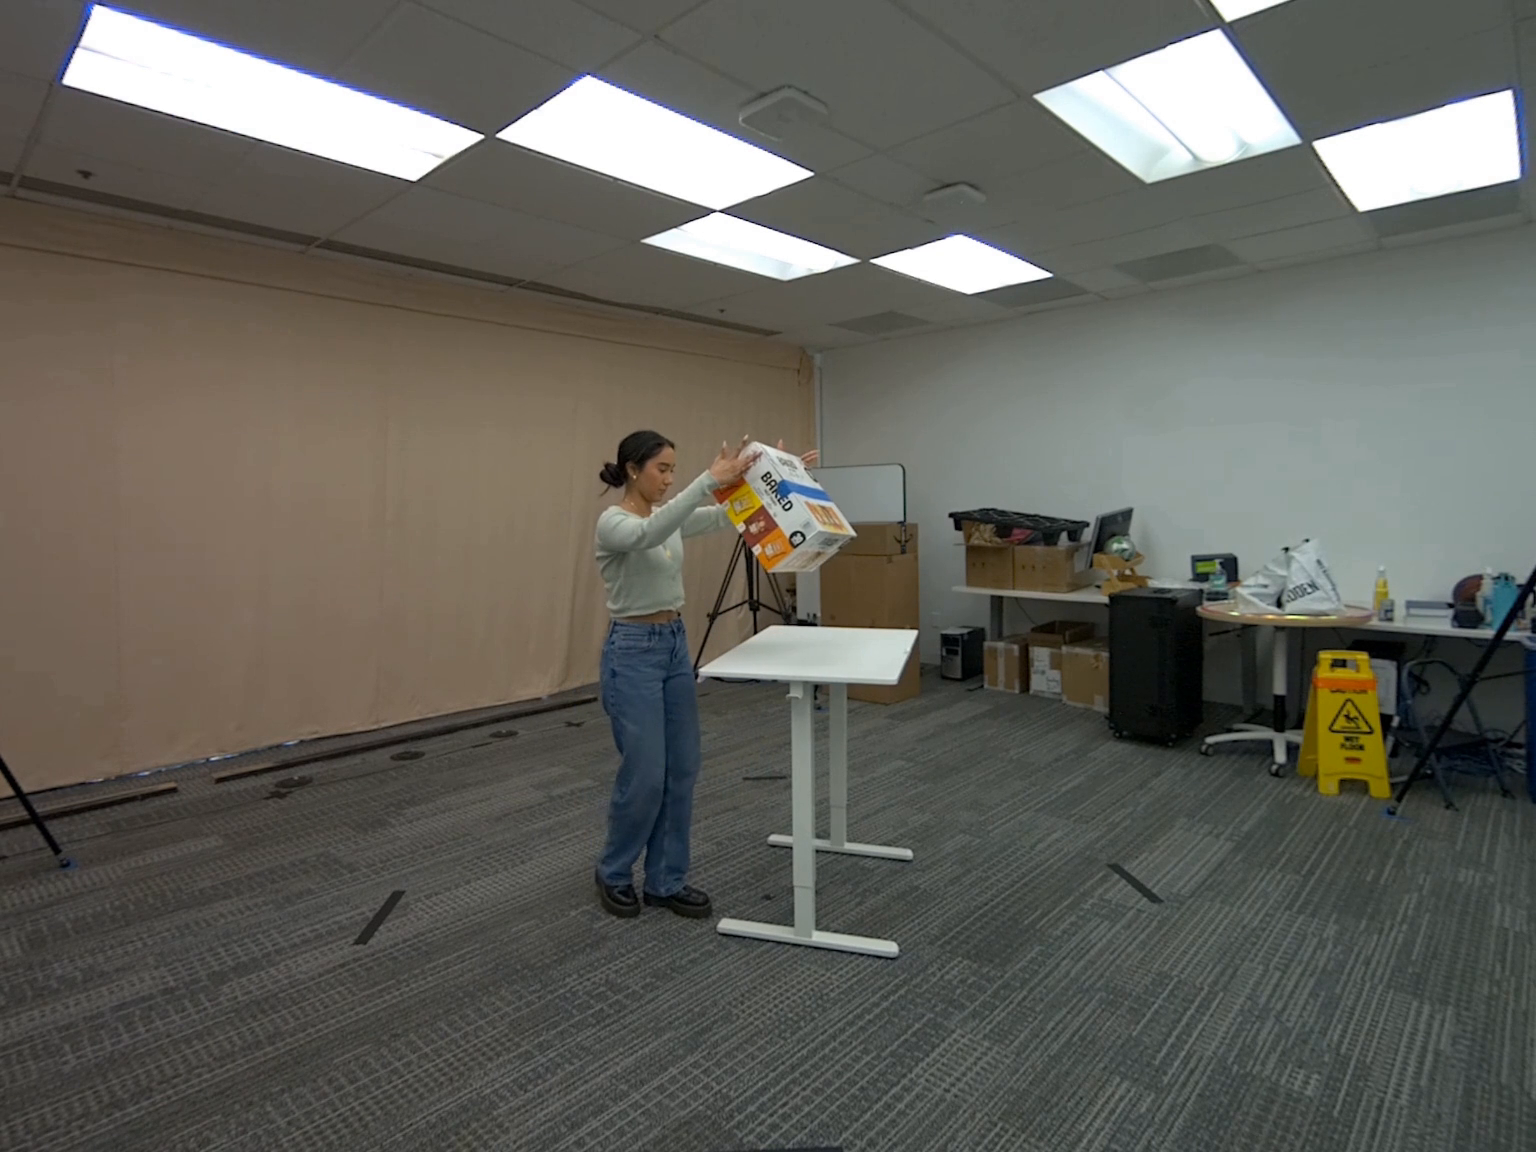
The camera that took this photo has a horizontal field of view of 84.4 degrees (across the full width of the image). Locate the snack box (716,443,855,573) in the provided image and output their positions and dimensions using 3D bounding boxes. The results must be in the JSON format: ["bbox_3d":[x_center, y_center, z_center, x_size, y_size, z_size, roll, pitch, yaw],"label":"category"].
[{"bbox_3d":[0.050,-0.203,2.653,0.207,0.346,0.395,-40,-16,18],"label":"snack box"}]
